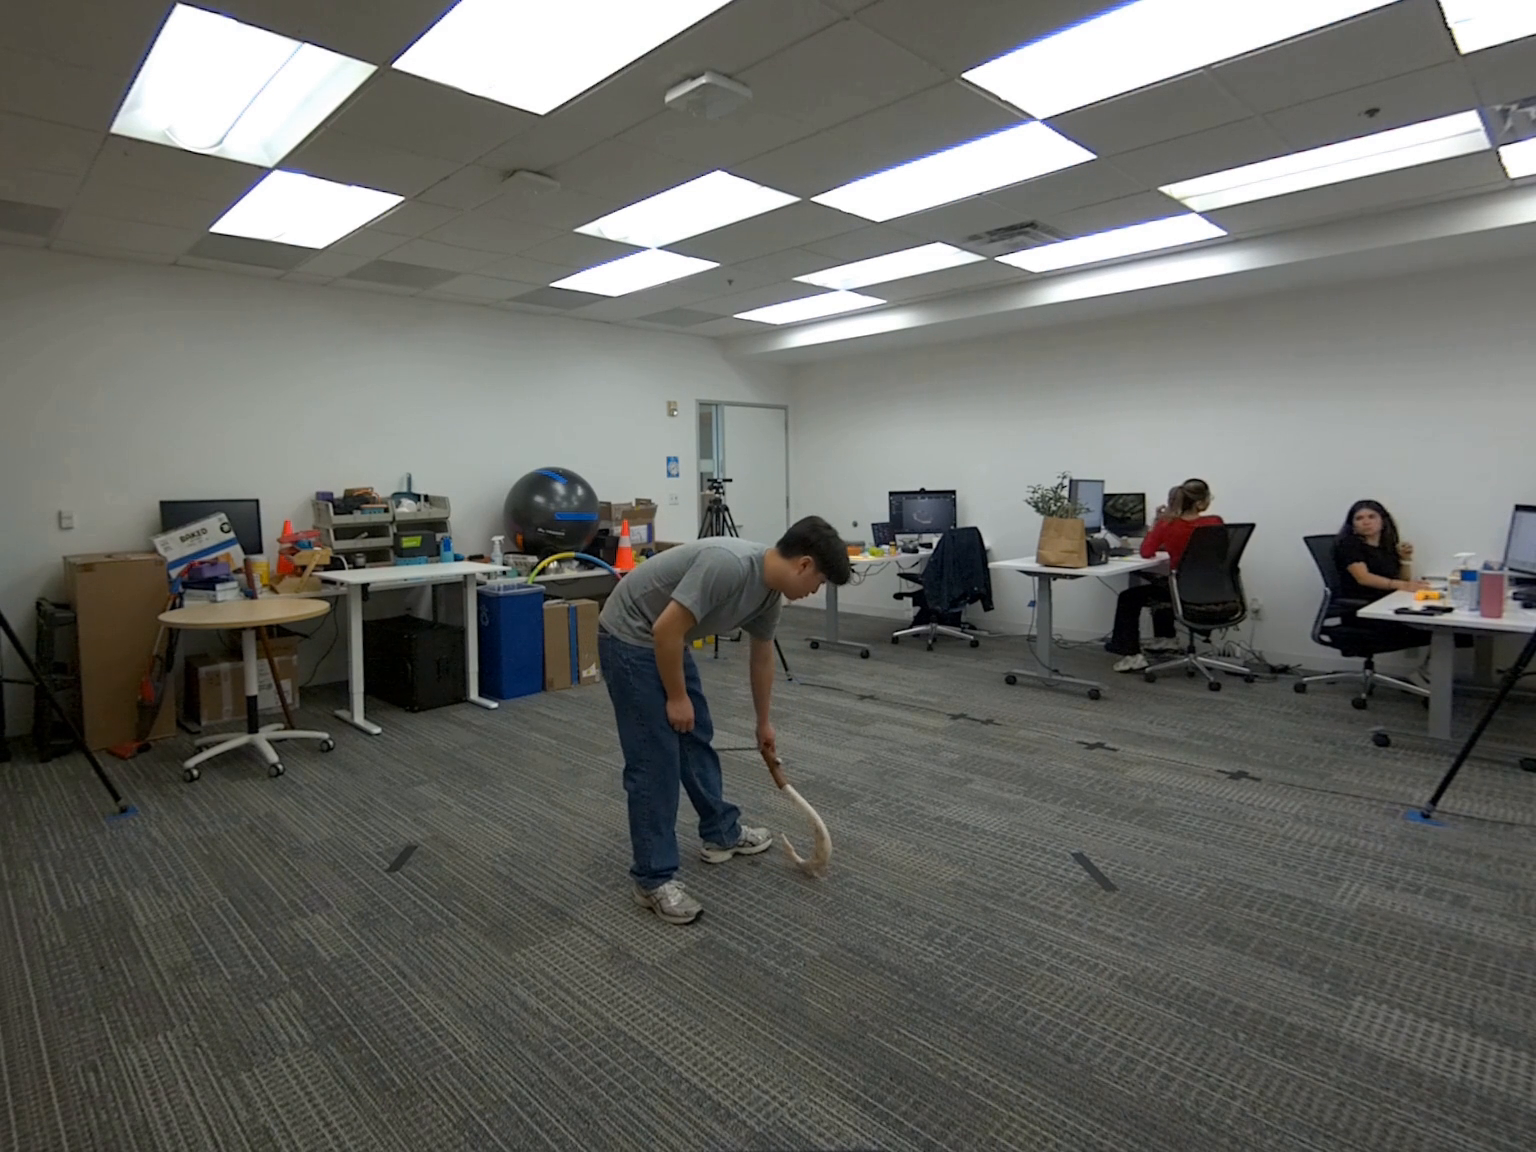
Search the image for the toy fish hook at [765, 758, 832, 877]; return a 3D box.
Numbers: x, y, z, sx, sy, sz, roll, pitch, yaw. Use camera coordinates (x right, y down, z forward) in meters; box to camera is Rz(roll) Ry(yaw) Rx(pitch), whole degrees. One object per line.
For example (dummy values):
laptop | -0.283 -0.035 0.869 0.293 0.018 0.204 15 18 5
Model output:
toy fish hook | 0.066 0.844 3.115 0.047 0.223 0.526 9 36 -44
